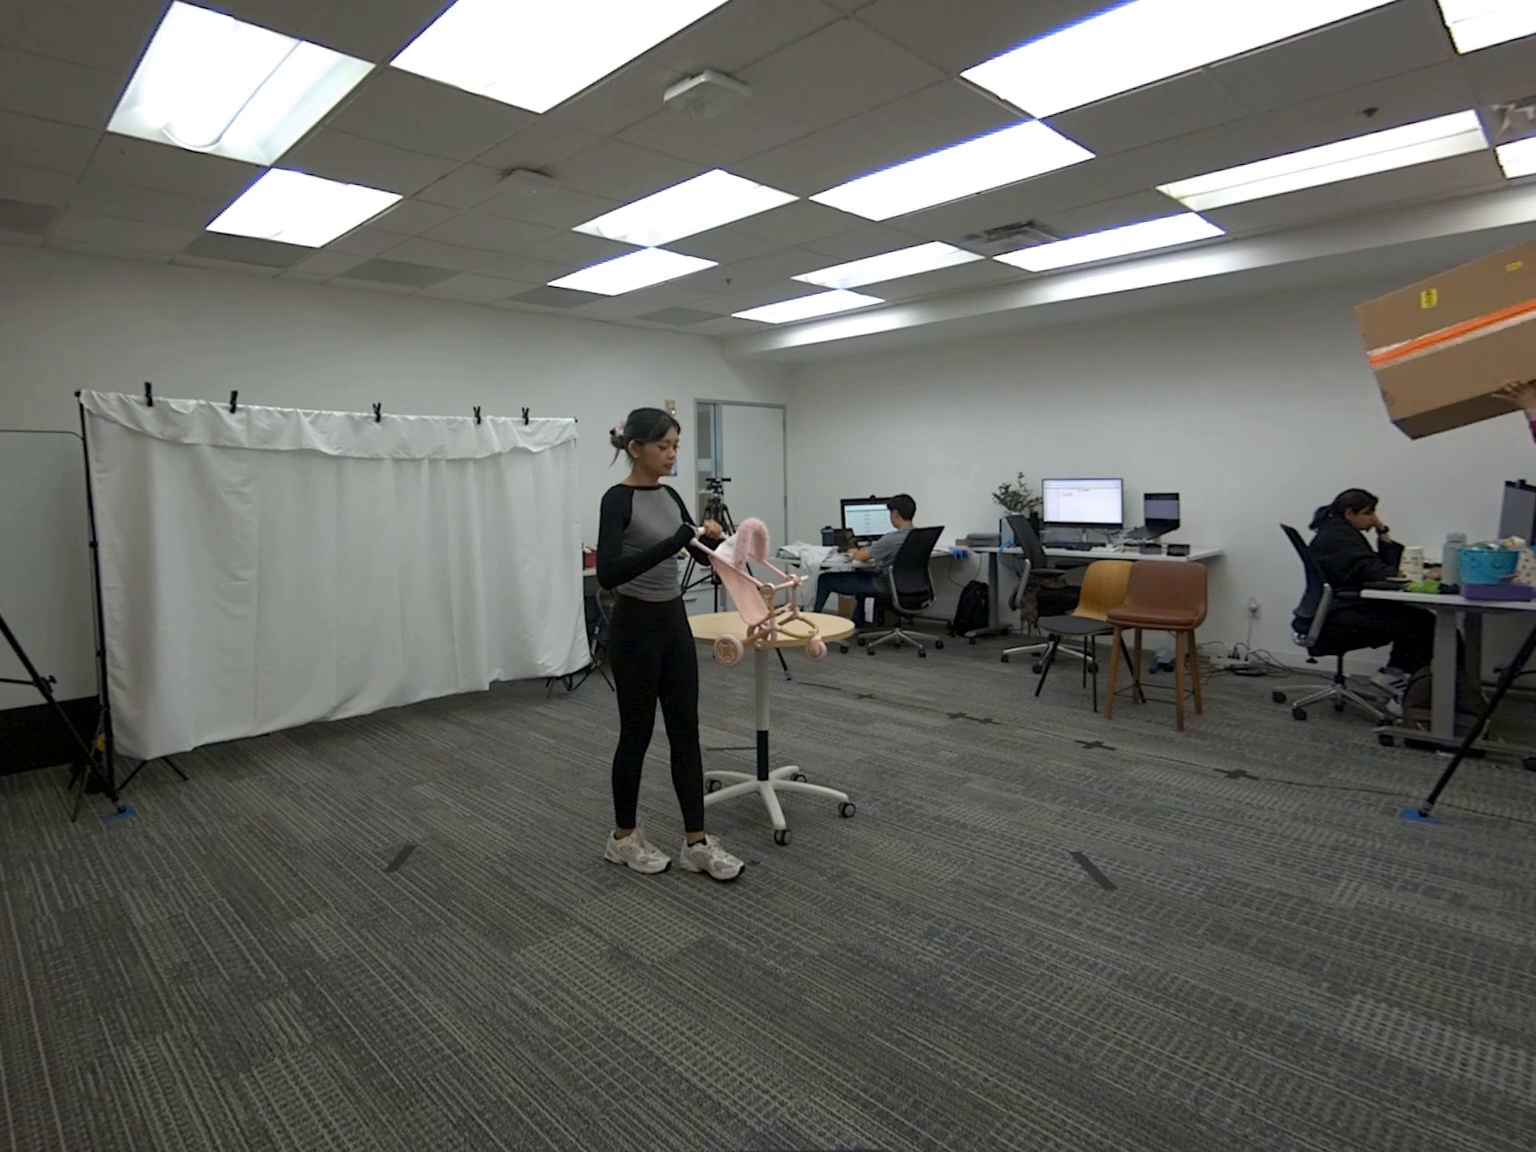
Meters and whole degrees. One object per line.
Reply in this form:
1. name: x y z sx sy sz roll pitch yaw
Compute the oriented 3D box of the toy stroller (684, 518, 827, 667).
1. toy stroller: -0.025 0.051 2.790 0.347 0.537 0.275 -18 -3 32
